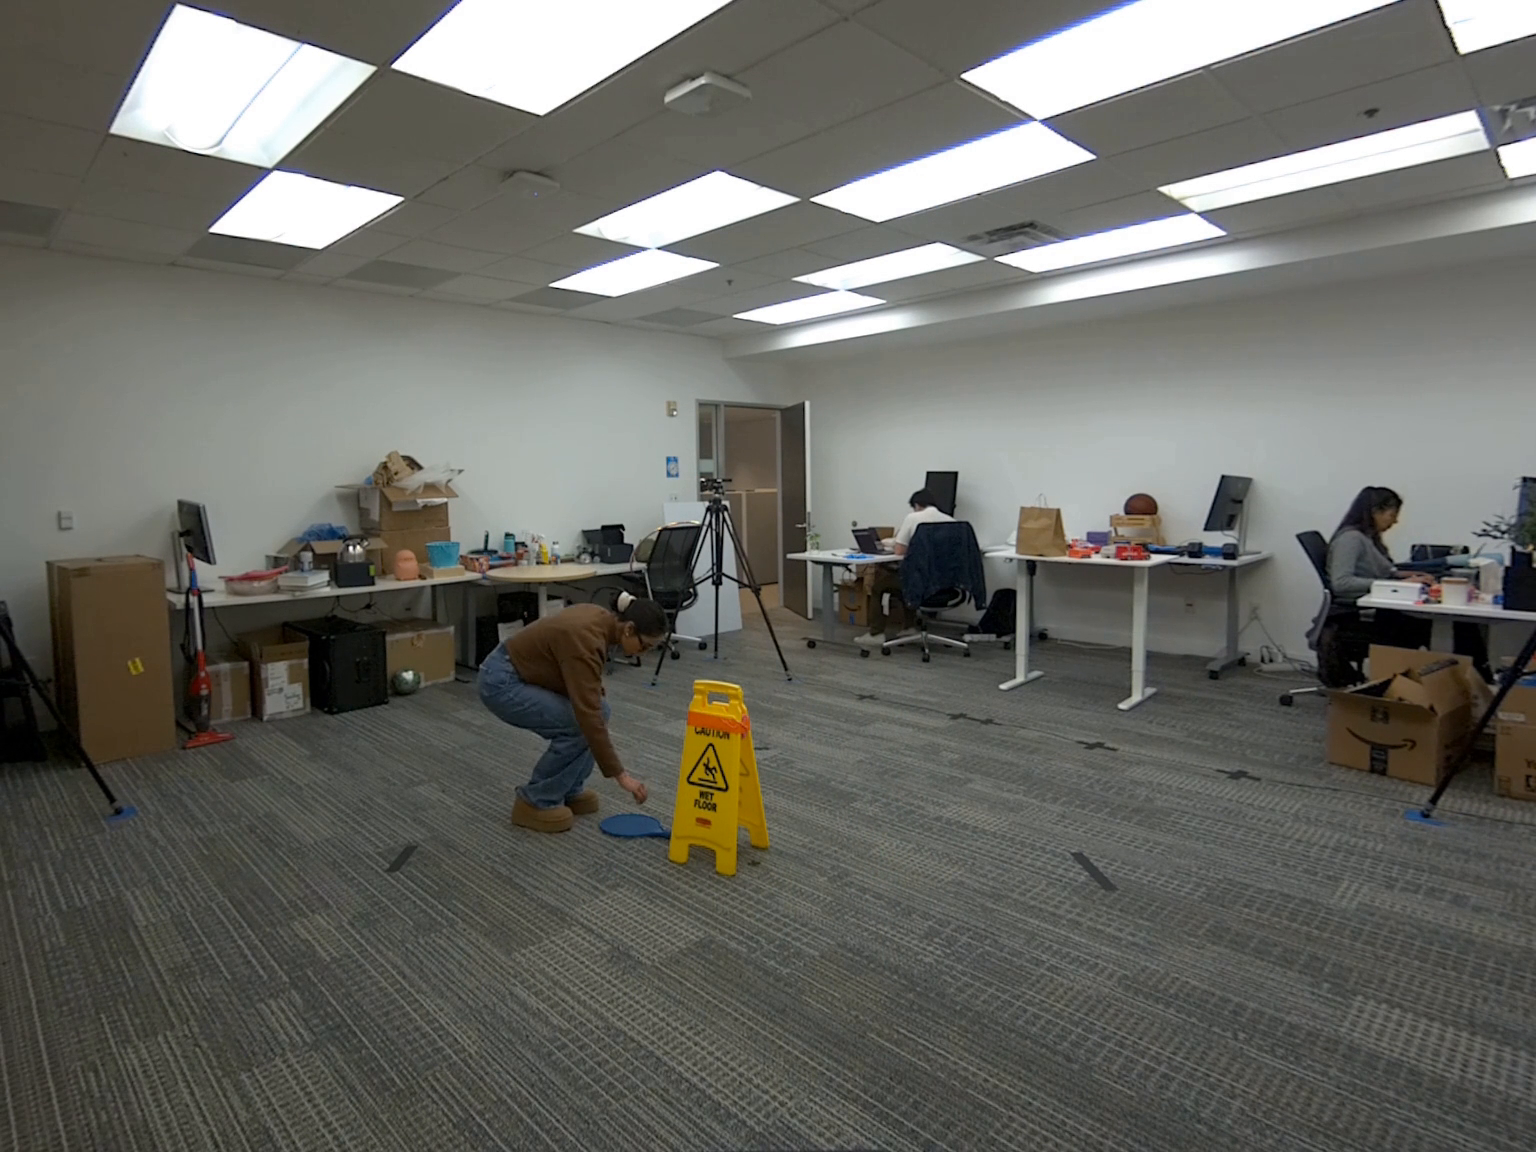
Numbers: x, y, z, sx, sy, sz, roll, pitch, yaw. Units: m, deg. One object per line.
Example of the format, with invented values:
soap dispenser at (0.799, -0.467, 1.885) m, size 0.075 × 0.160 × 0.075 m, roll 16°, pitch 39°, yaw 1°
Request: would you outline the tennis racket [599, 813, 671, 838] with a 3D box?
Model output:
tennis racket at (-0.481, 1.001, 3.395) m, size 0.445 × 0.031 × 0.208 m, roll 1°, pitch 6°, yaw 35°
